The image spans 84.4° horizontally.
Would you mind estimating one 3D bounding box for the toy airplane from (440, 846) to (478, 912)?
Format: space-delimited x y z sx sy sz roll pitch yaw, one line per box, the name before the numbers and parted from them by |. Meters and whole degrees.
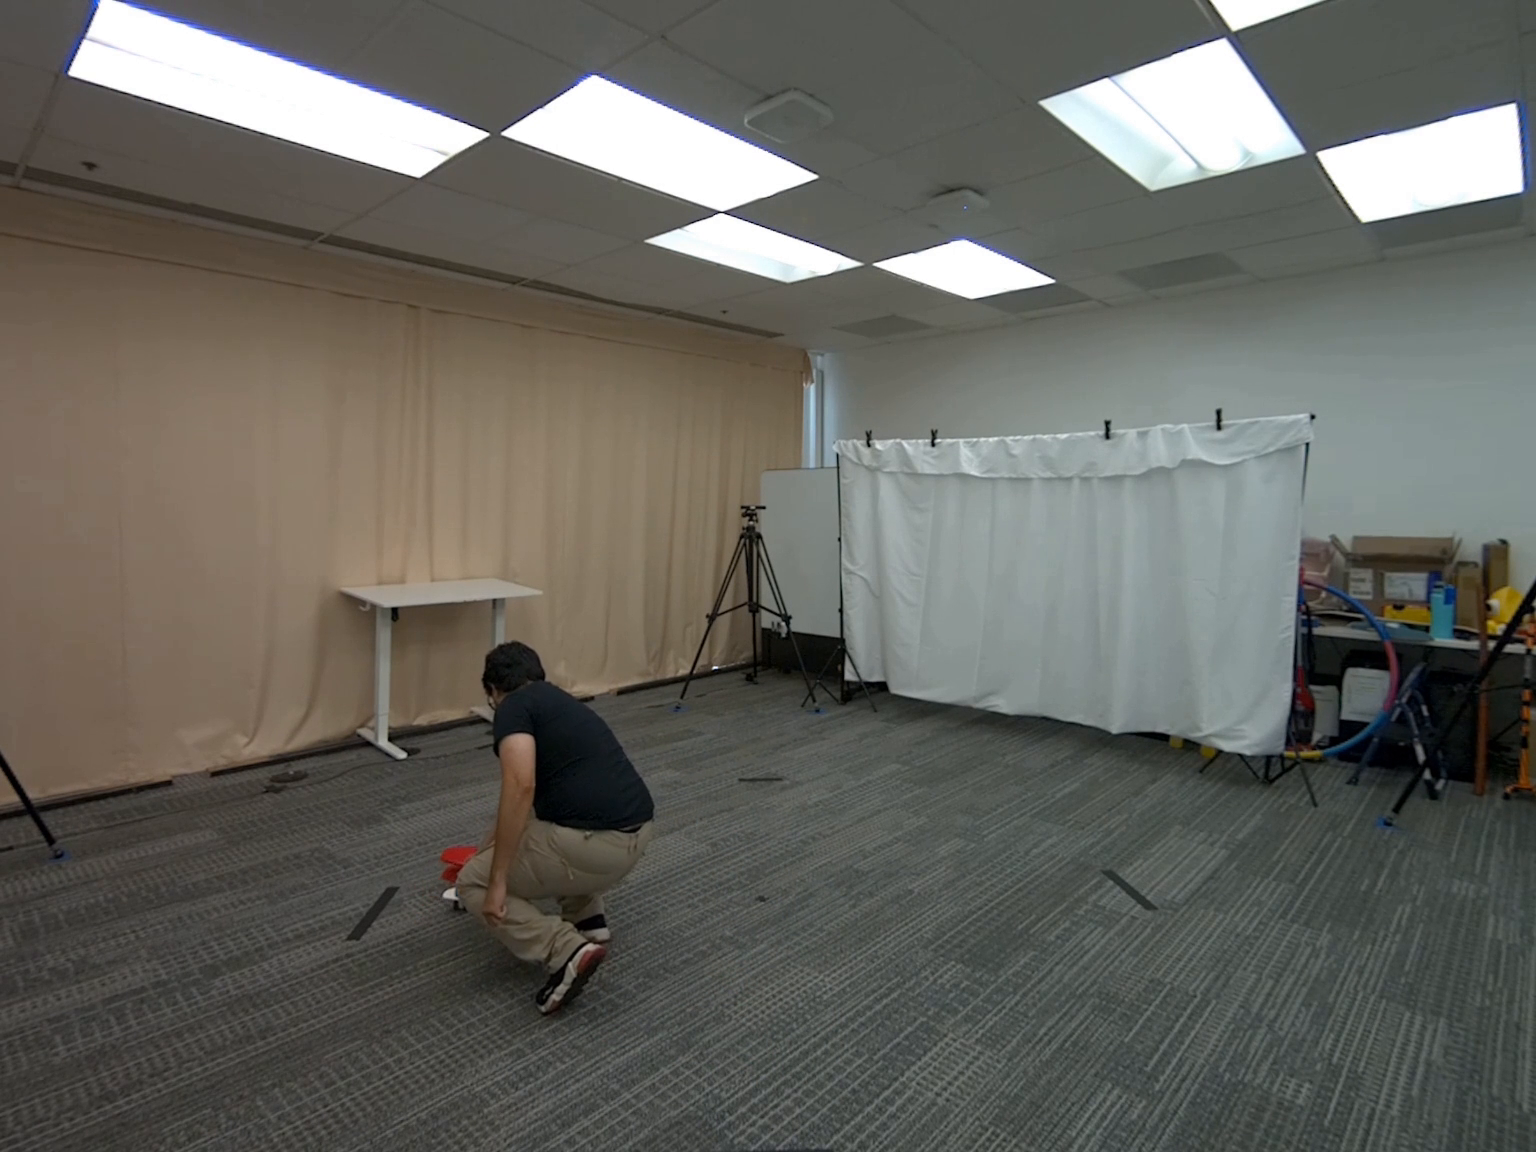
toy airplane | -1.042 1.079 3.000 0.245 0.156 0.266 0 4 -24
